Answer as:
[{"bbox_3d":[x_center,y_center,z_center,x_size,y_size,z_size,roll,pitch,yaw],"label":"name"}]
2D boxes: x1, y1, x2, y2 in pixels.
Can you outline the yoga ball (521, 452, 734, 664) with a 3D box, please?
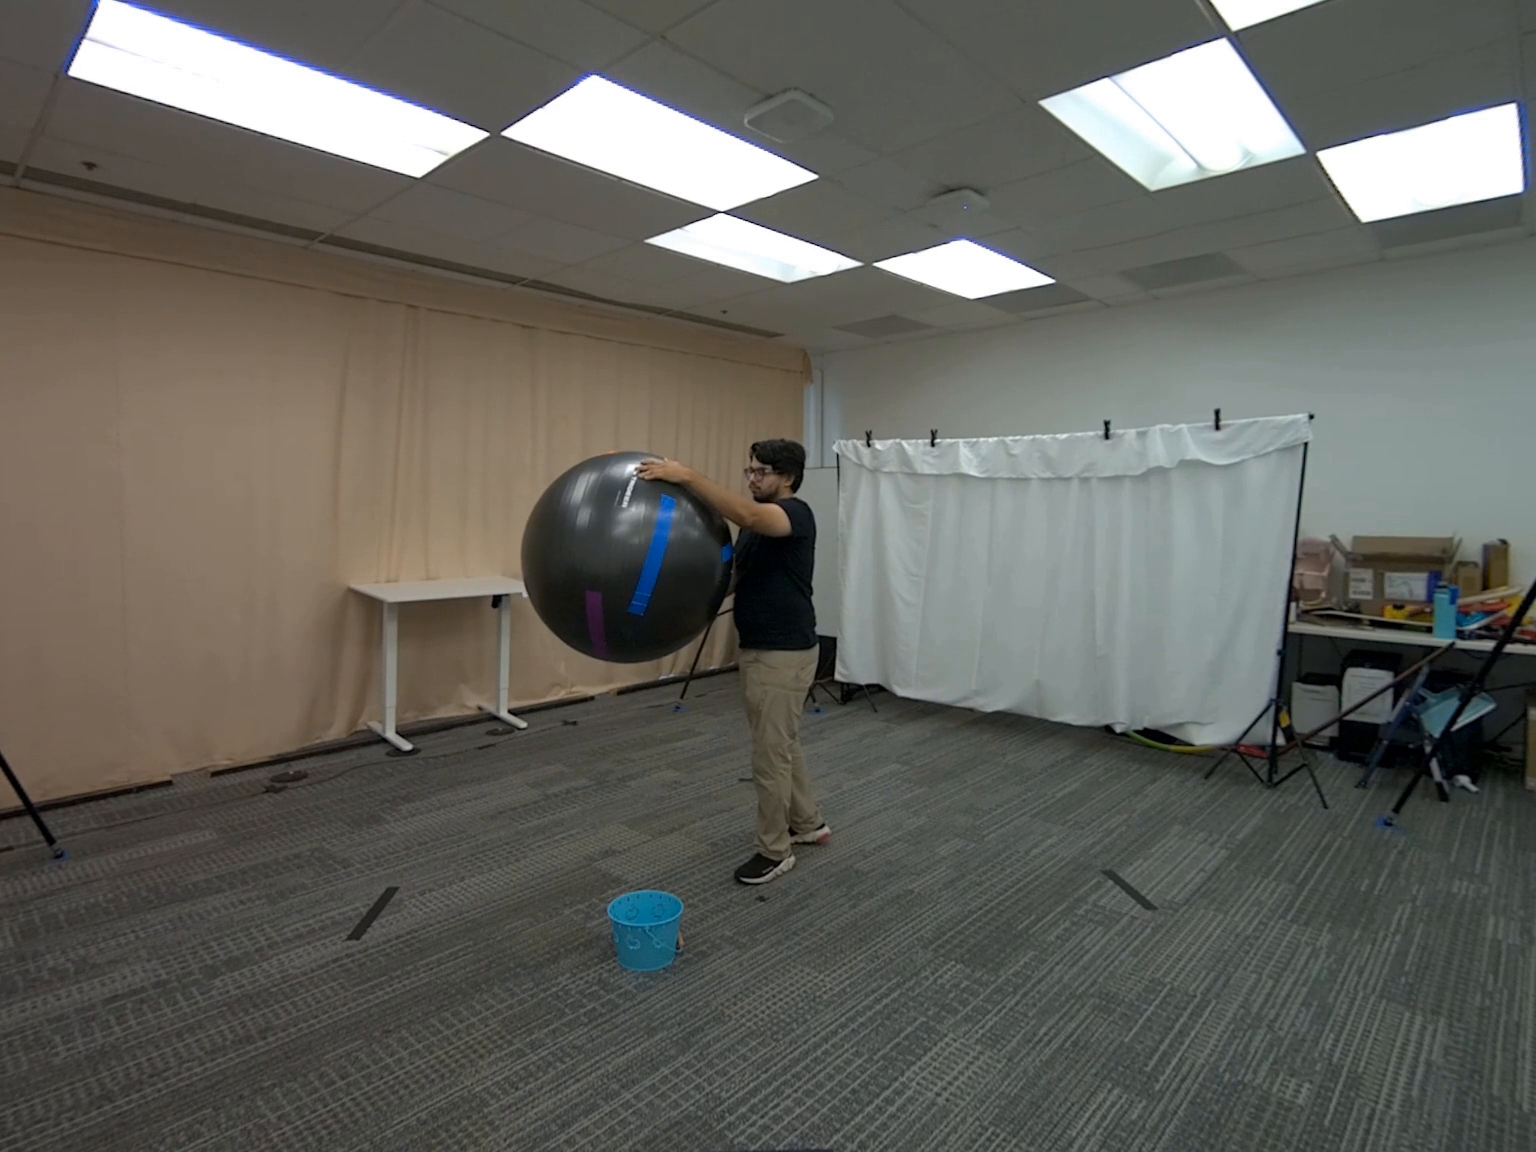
[{"bbox_3d":[-0.507,-0.067,3.037,0.757,0.756,0.760,0,4,-2],"label":"yoga ball"}]
